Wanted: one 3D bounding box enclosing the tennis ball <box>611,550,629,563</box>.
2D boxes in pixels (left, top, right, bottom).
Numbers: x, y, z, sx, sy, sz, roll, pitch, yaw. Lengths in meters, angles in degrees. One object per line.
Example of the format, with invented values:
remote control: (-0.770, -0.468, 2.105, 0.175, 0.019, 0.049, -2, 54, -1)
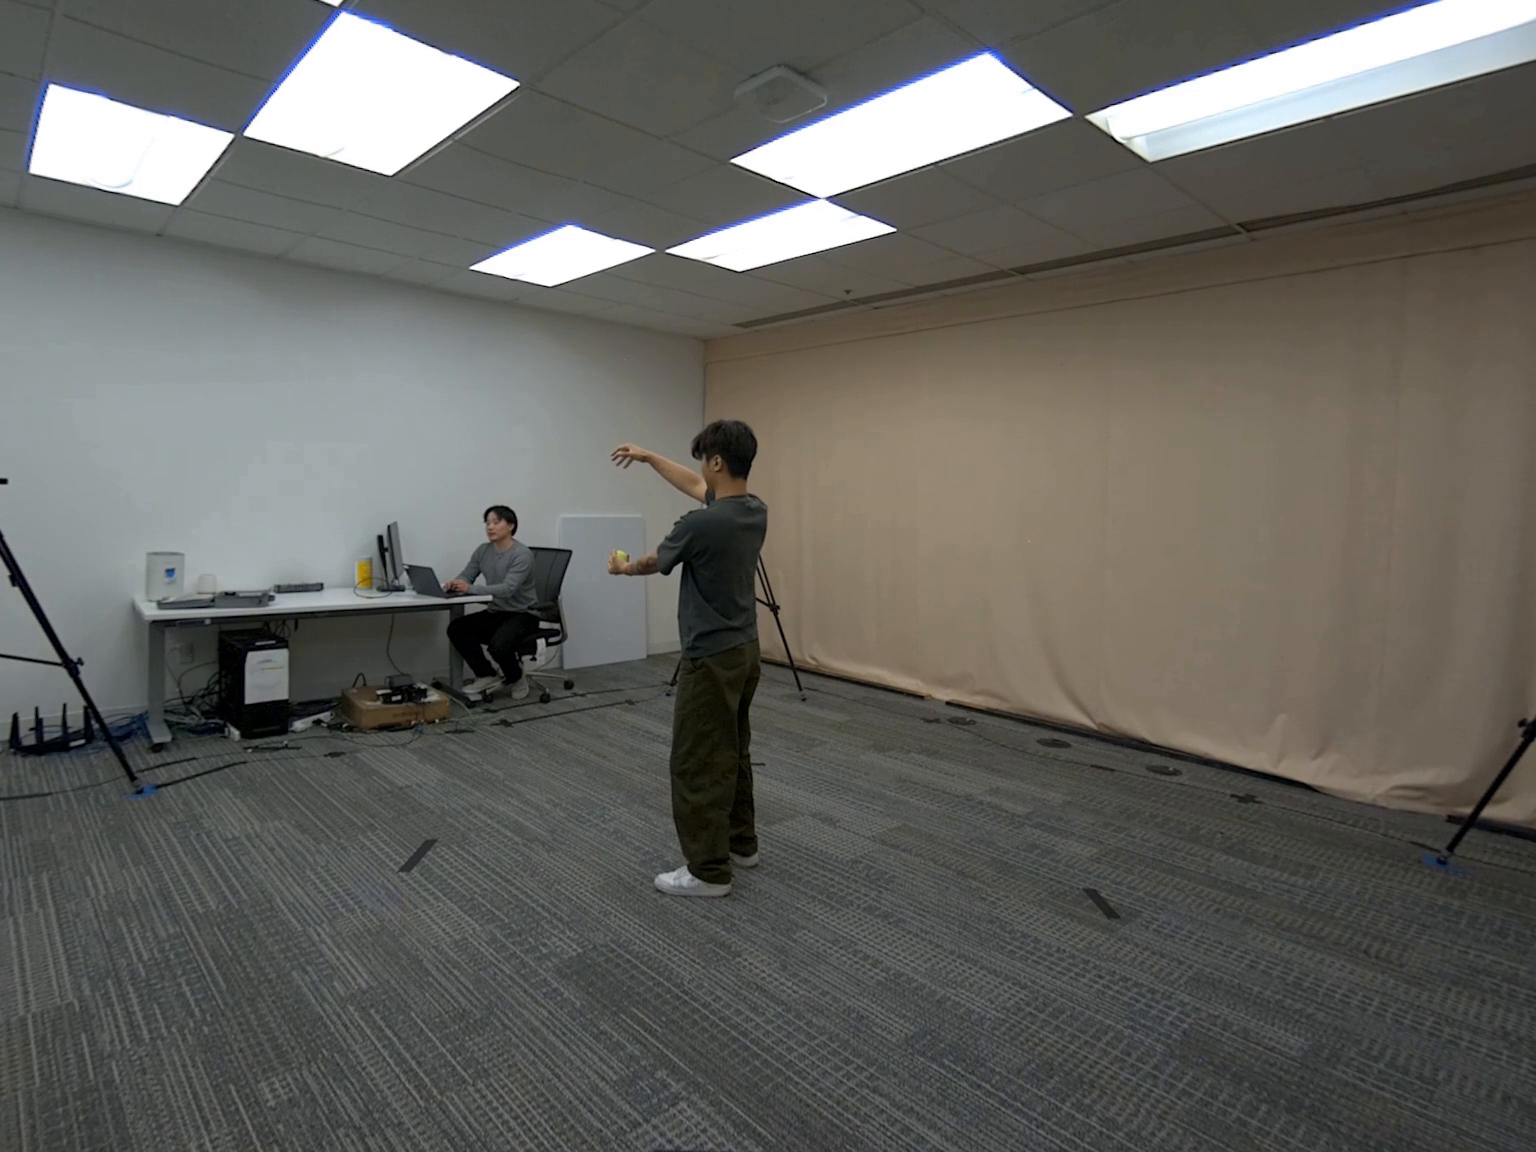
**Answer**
tennis ball: (-0.584, -0.076, 3.309, 0.066, 0.066, 0.067, 1, 4, -1)
